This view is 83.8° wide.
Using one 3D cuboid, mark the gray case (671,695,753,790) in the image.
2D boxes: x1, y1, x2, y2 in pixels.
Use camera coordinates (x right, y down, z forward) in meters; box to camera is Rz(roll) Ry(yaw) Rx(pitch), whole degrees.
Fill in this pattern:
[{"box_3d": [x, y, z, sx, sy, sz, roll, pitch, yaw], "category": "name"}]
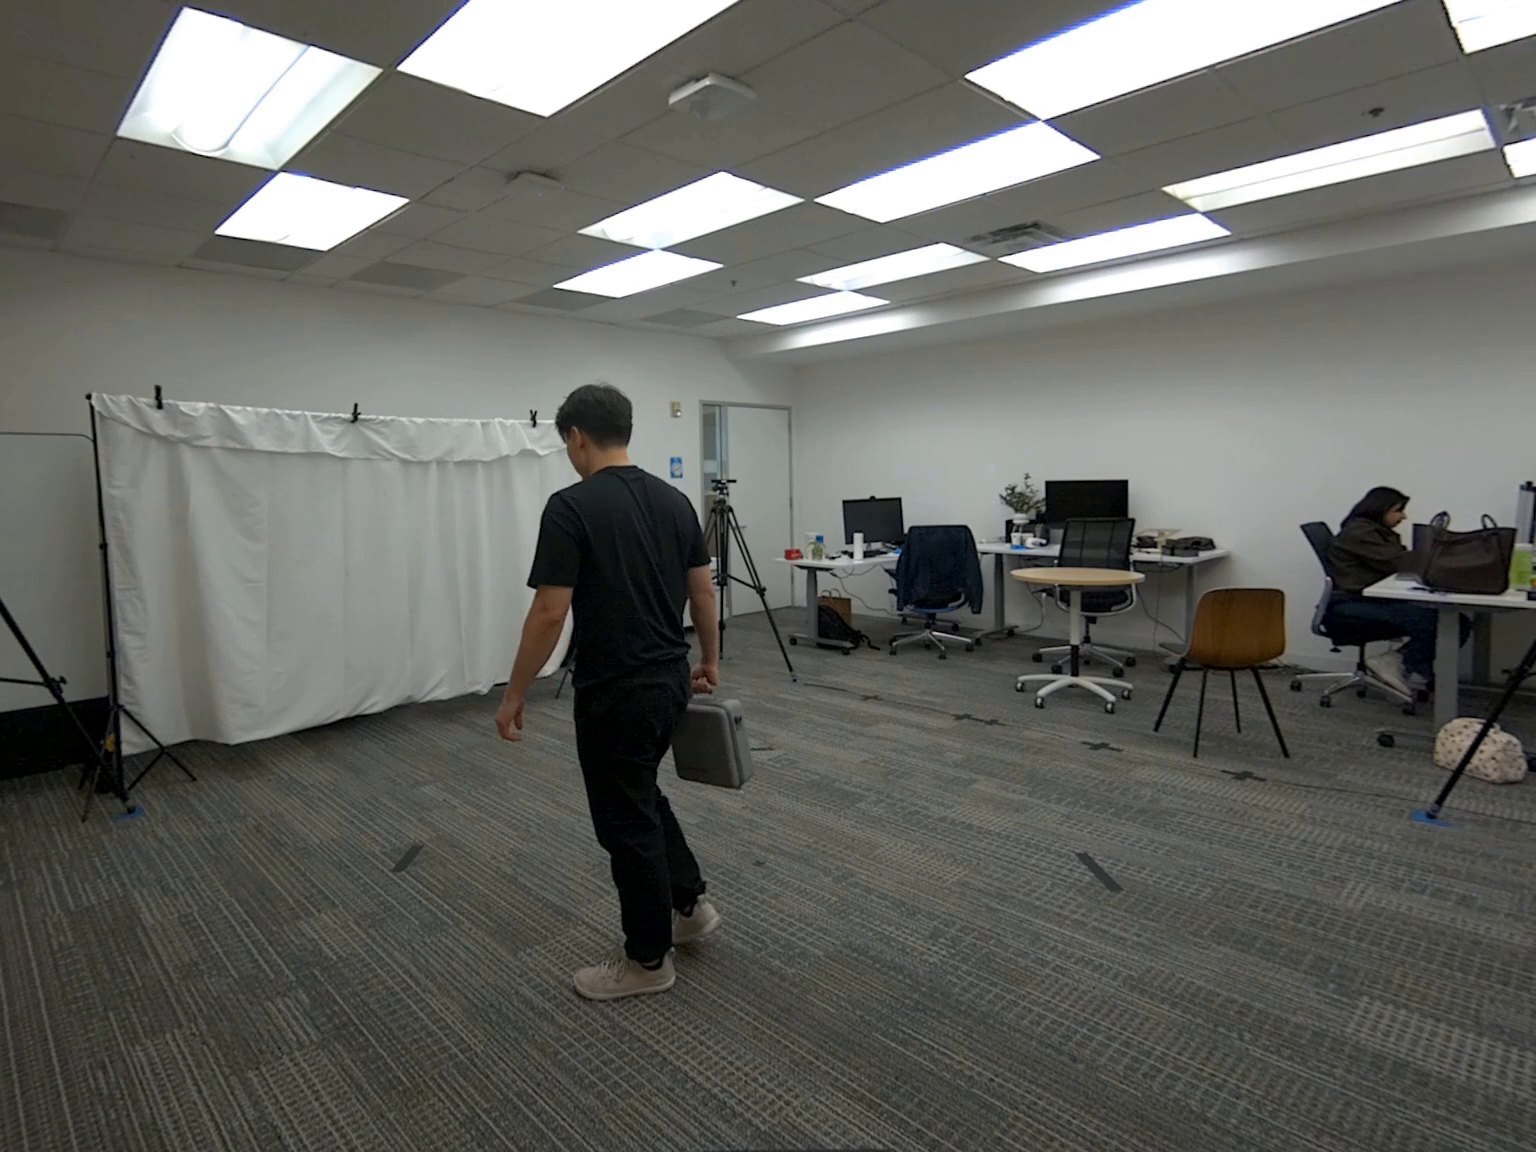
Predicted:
[{"box_3d": [-0.179, 0.491, 2.582, 0.264, 0.259, 0.102, -2, 9, 42], "category": "gray case"}]
